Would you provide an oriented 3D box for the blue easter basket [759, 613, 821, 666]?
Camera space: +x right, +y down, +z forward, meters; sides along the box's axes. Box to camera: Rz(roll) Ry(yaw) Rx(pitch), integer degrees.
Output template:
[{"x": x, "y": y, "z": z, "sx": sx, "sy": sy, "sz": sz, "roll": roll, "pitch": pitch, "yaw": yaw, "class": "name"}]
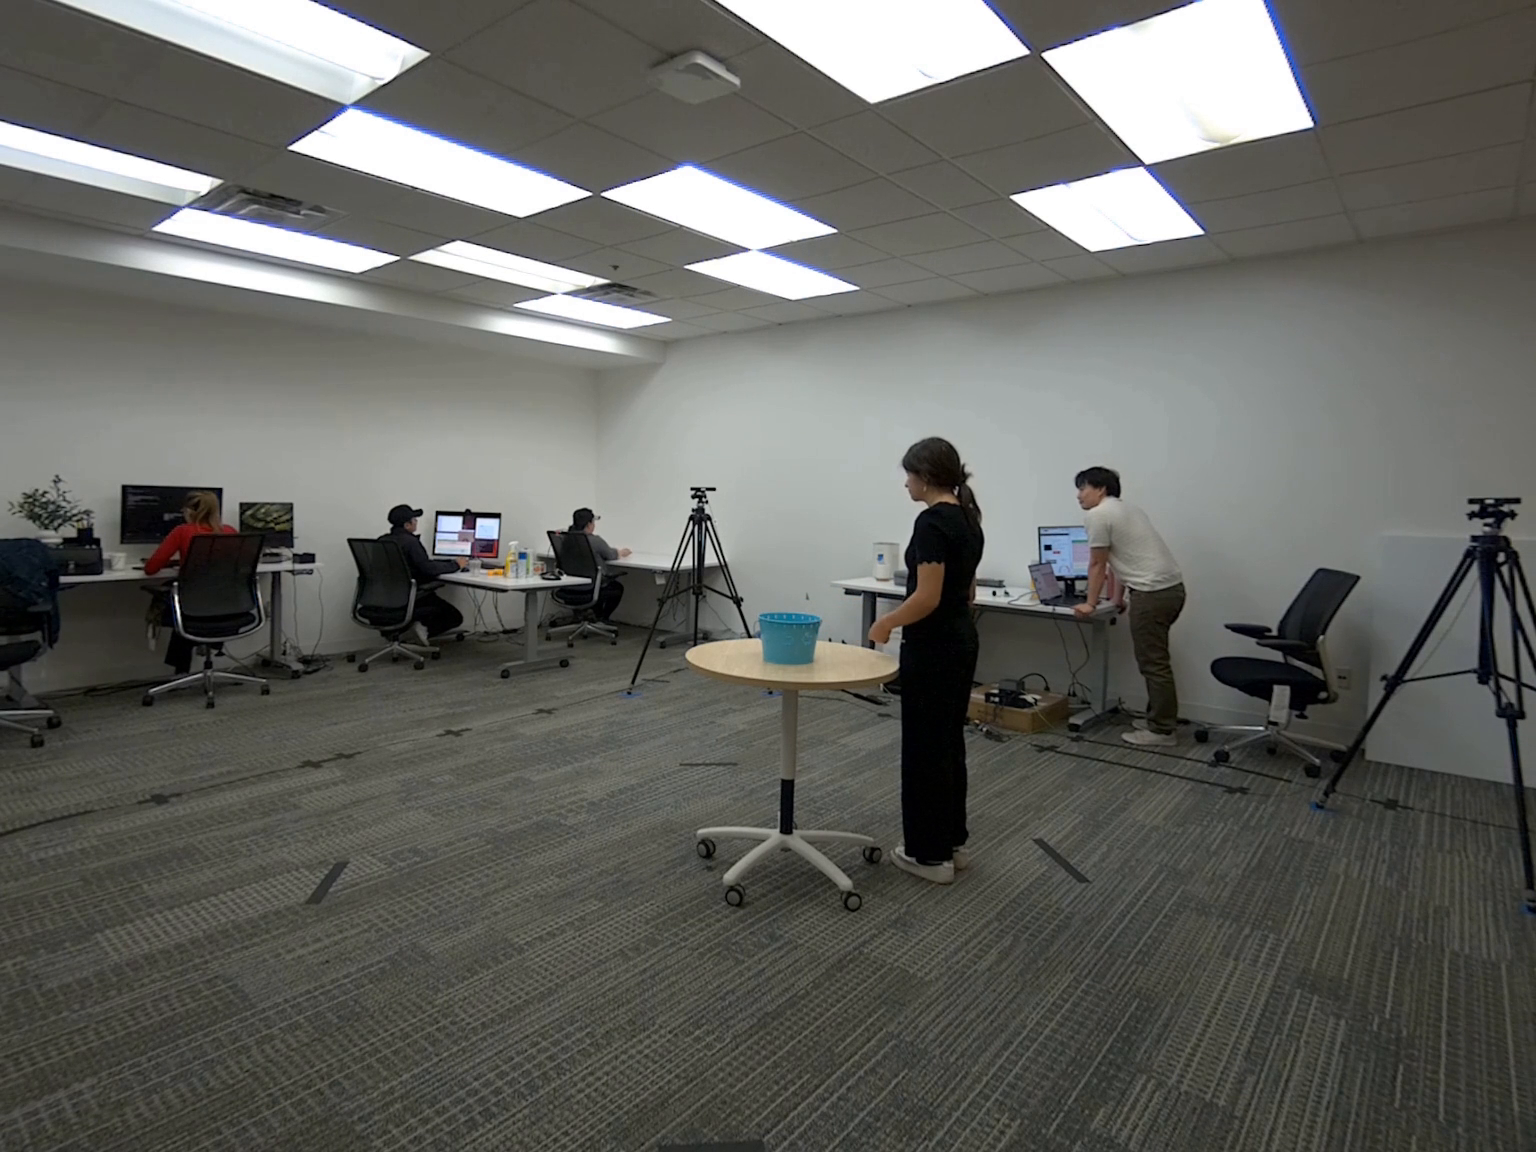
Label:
[{"x": 0.071, "y": 0.223, "z": 3.039, "sx": 0.243, "sy": 0.155, "sz": 0.244, "roll": 3, "pitch": 3, "yaw": -2, "class": "blue easter basket"}]
